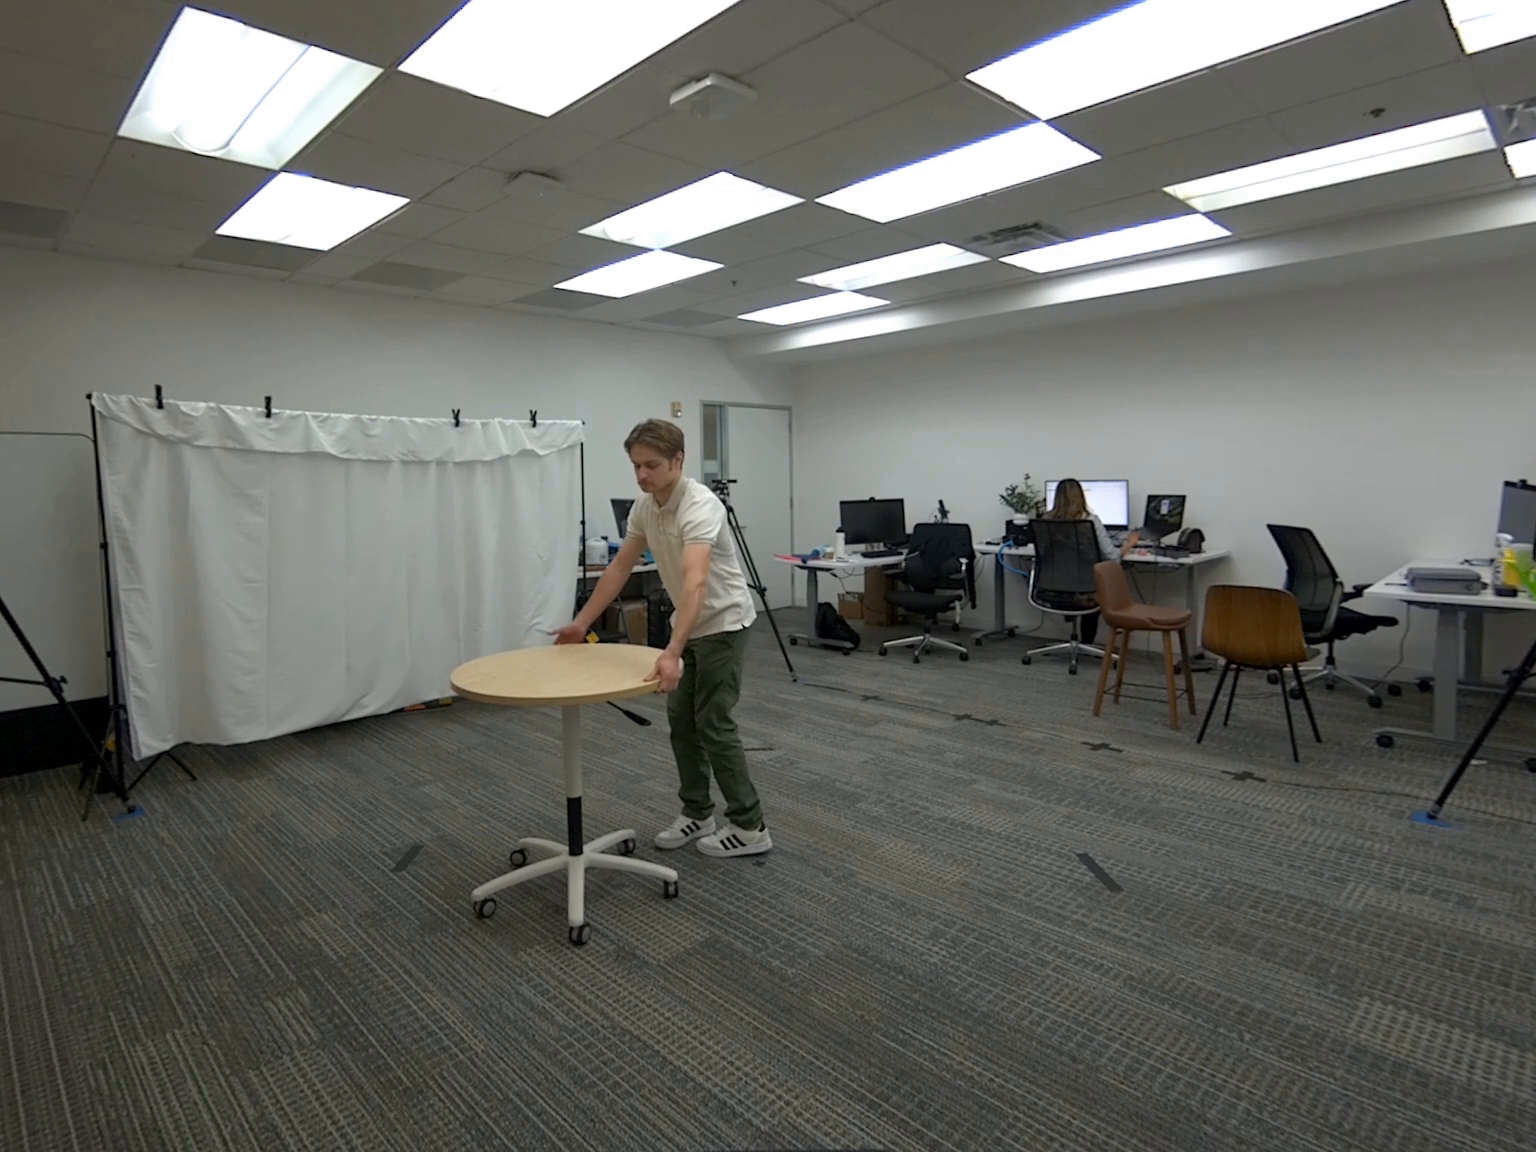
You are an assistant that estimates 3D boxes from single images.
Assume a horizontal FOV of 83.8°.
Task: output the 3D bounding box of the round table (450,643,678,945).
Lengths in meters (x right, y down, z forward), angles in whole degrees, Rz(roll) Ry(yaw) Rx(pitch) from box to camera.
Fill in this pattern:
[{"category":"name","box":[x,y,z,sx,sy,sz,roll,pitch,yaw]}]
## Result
[{"category":"round table","box":[-0.652,0.695,2.892,0.763,0.790,0.768,-2,5,-1]}]
